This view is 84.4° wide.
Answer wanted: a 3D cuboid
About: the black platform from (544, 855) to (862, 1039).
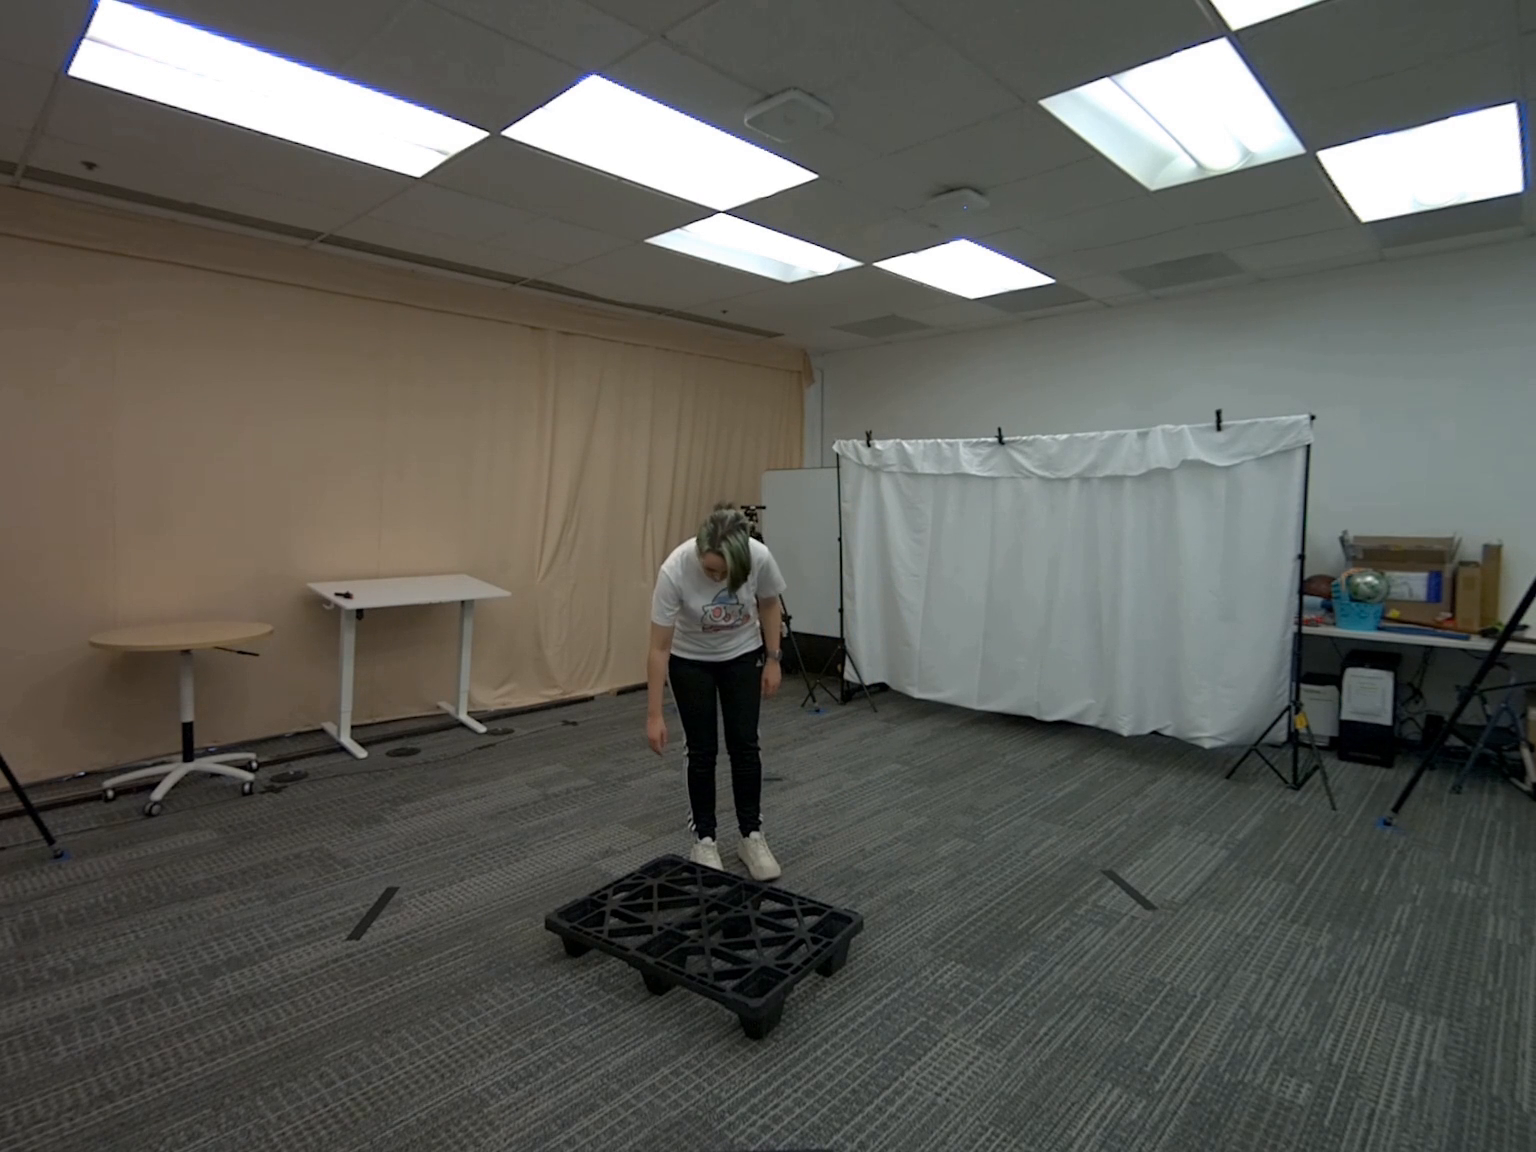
[{"bbox_3d":[-0.192,1.113,2.581,0.831,0.143,0.588,3,6,35],"label":"black platform"}]
